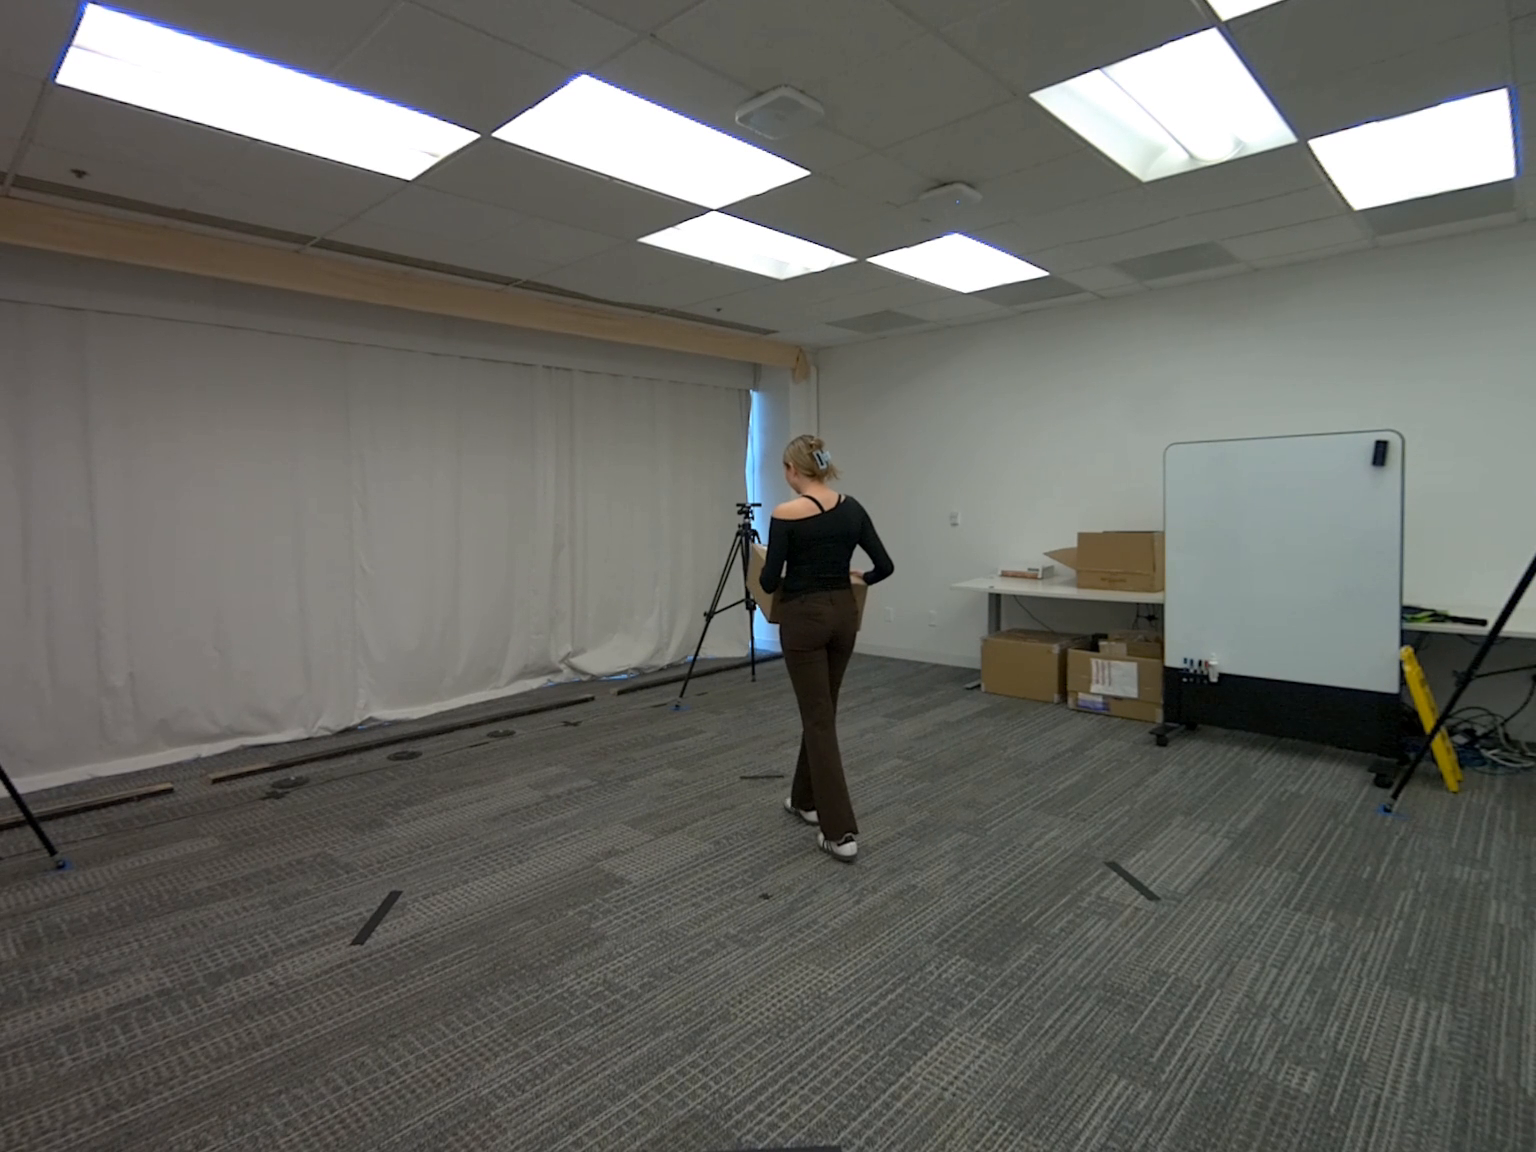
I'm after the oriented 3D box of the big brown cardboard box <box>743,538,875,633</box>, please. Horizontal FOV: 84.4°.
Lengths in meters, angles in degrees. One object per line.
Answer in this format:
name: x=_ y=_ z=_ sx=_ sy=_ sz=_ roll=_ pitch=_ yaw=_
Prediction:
big brown cardboard box: x=0.166 y=0.030 z=3.895 sx=0.411 sy=0.231 sz=0.602 roll=5 pitch=16 yaw=-14
